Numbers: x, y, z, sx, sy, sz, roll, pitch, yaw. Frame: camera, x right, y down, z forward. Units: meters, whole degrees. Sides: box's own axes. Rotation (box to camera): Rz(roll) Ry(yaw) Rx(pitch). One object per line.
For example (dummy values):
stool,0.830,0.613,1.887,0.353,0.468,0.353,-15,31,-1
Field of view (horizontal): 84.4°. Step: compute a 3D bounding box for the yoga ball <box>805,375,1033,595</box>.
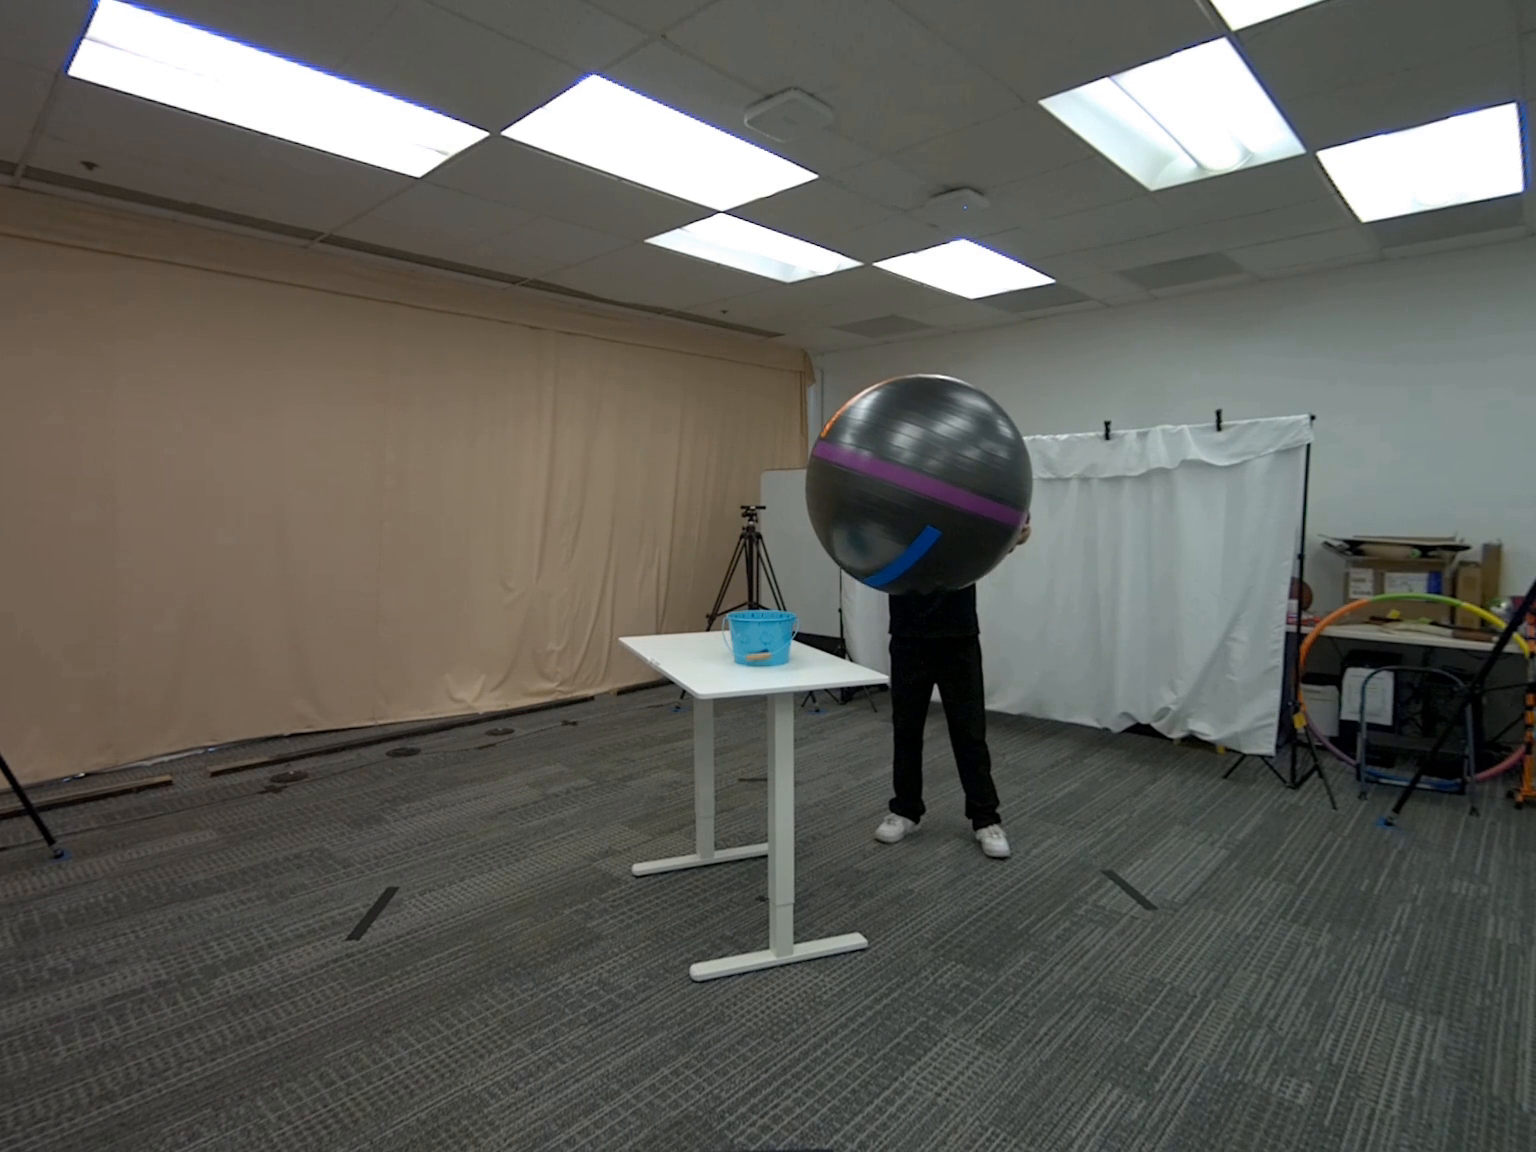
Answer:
yoga ball,0.519,-0.300,2.920,0.757,0.756,0.760,0,4,-2
